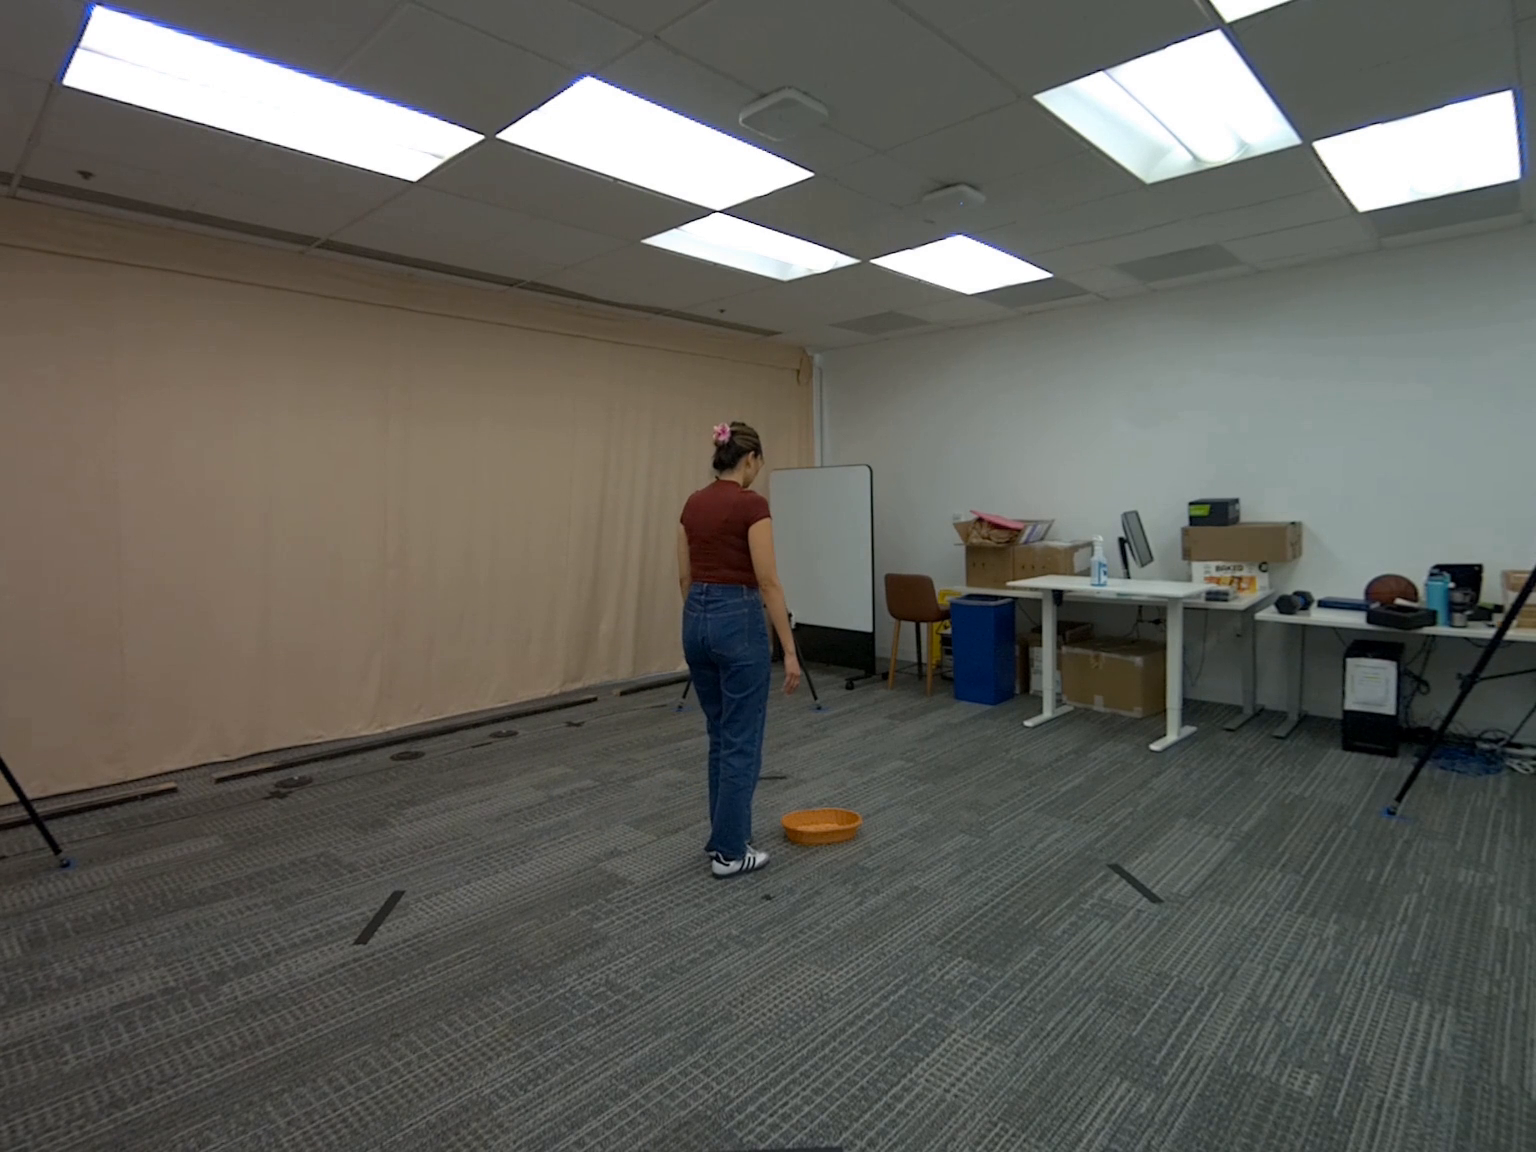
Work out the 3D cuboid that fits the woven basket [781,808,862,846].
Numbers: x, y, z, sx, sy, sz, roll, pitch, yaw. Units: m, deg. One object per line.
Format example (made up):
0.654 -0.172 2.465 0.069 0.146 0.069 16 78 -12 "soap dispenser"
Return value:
0.221 1.047 3.526 0.345 0.073 0.256 -2 4 -15 "woven basket"
